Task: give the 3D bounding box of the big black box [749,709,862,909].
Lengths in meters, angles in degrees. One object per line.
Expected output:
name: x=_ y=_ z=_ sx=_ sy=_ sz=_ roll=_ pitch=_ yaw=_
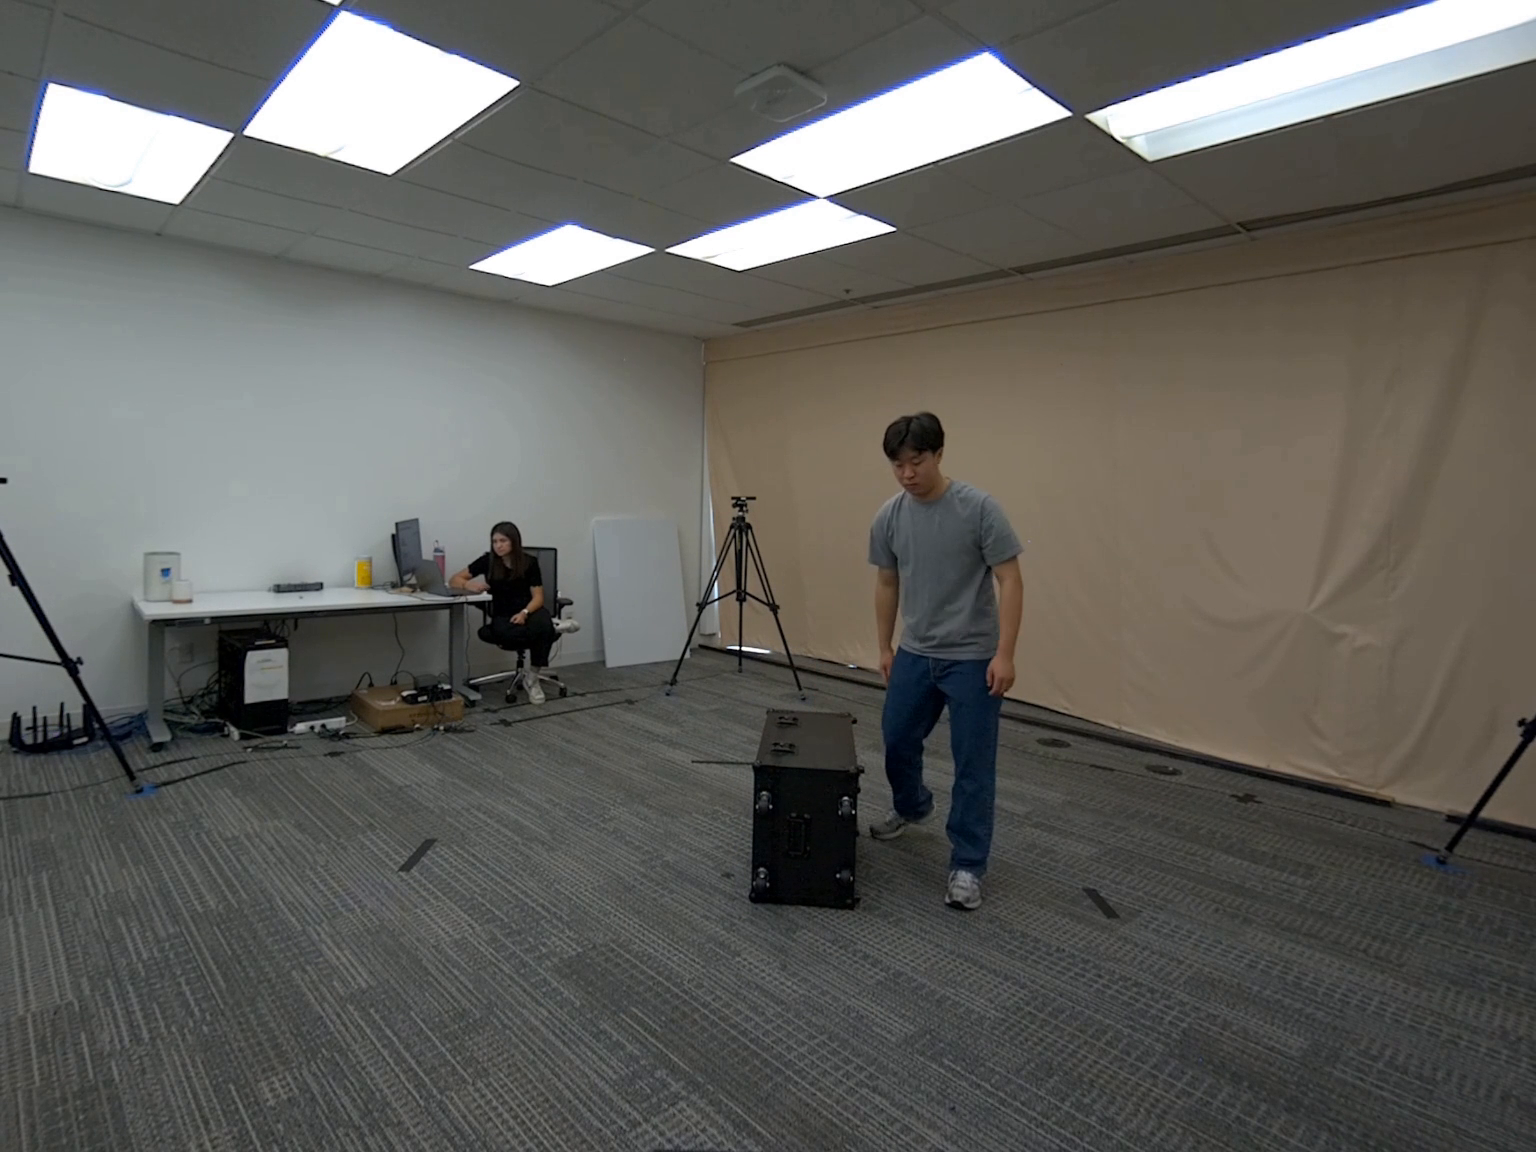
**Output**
big black box: x=0.151 y=0.858 z=3.215 sx=0.398 sy=0.520 sz=0.860 roll=1 pitch=4 yaw=4
